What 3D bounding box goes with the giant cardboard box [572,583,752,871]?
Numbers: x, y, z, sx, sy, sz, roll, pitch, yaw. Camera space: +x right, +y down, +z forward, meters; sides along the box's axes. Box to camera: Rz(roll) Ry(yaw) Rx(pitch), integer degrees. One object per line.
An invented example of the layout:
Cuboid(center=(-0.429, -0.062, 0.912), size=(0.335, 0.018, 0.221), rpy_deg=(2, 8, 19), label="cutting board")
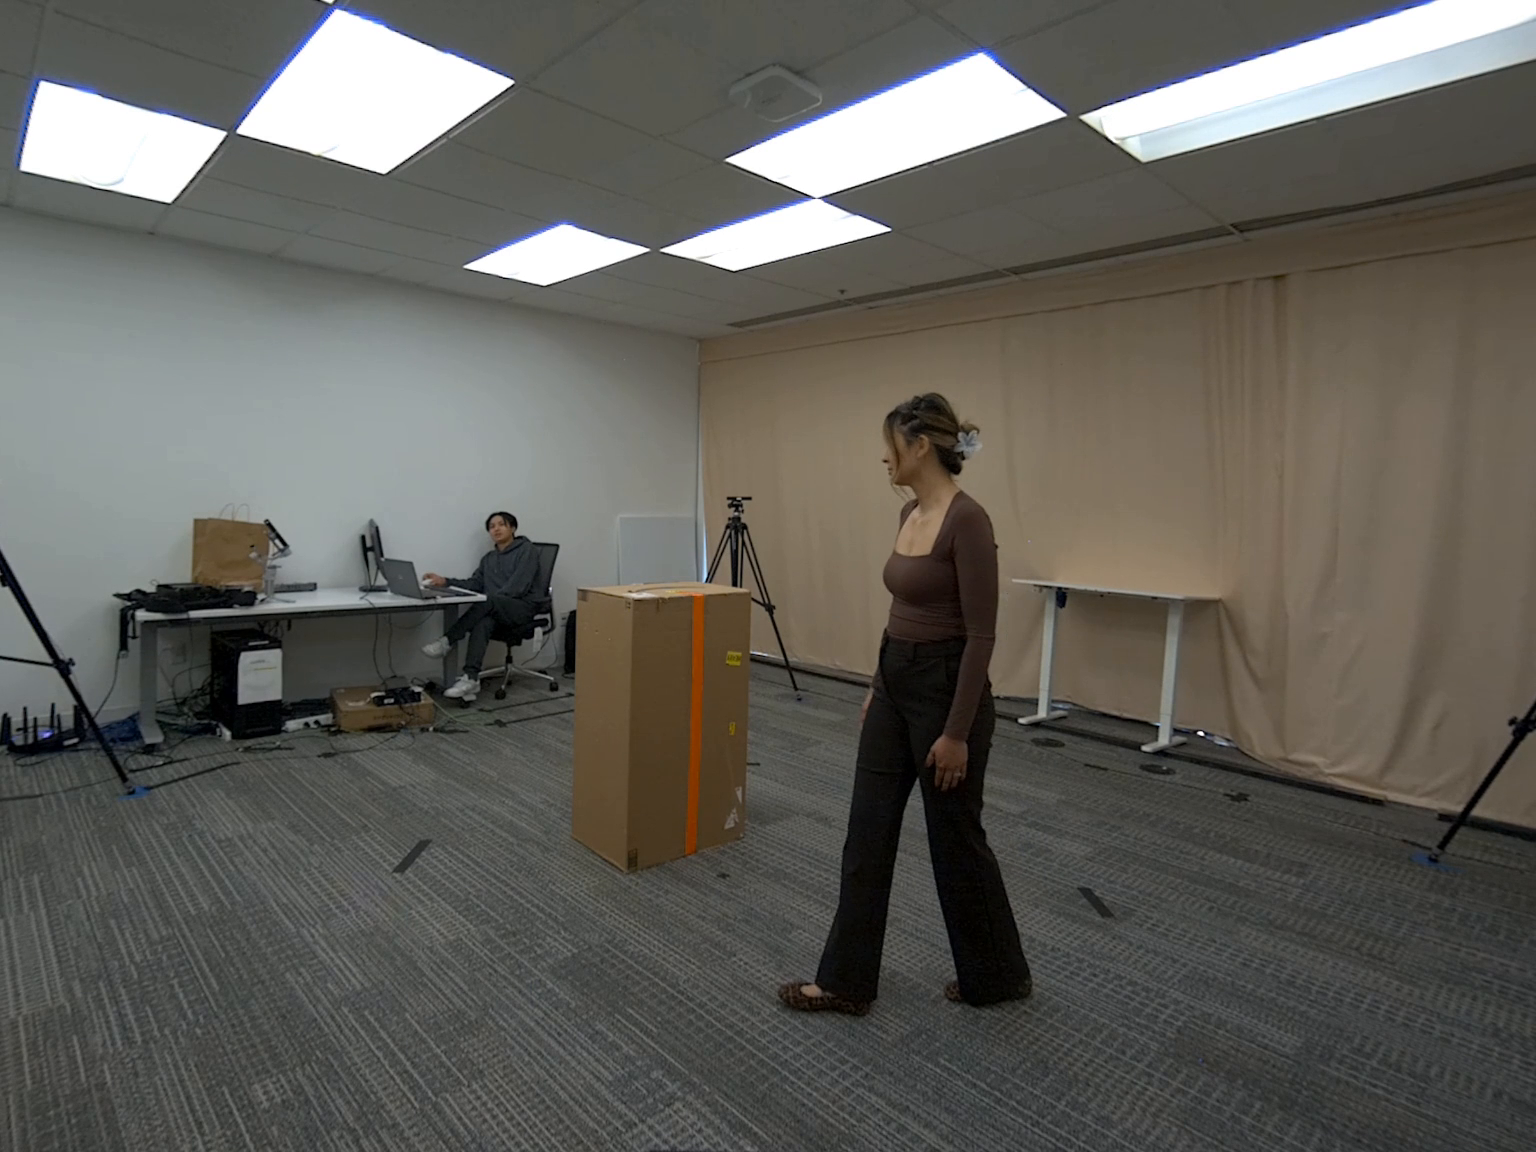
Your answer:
Cuboid(center=(-0.436, 0.561, 3.414), size=(0.570, 1.024, 0.458), rpy_deg=(-1, 5, -39), label="giant cardboard box")
